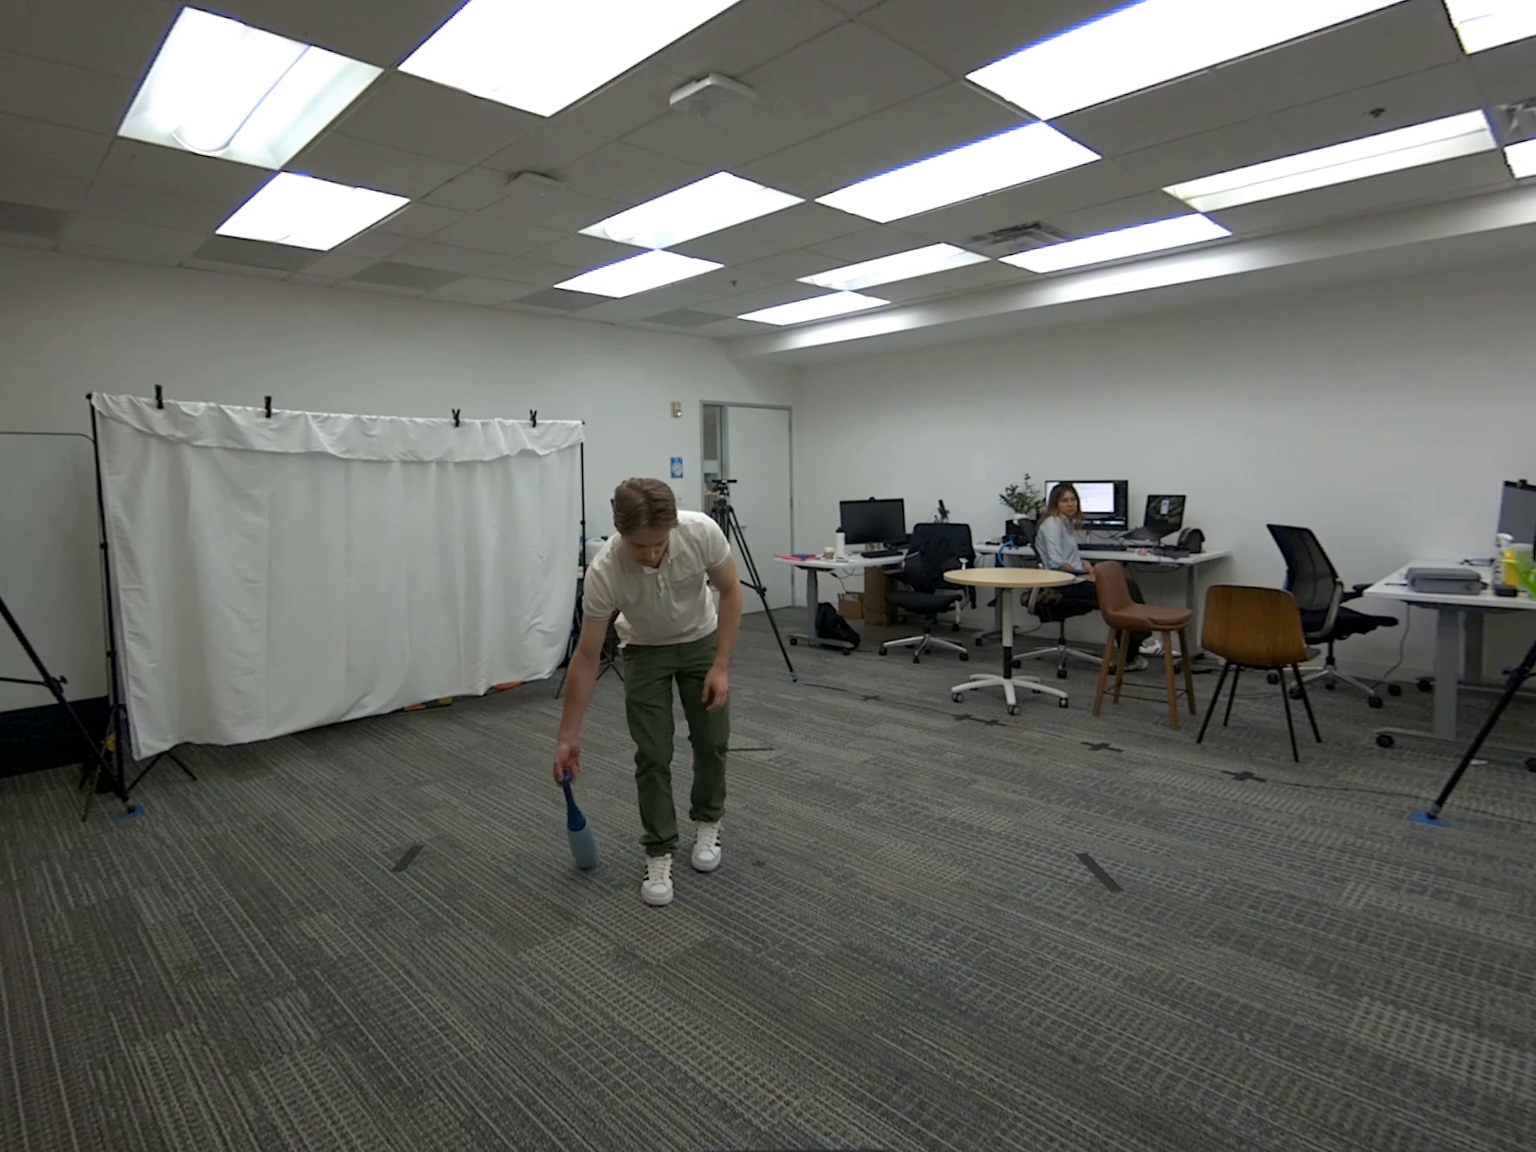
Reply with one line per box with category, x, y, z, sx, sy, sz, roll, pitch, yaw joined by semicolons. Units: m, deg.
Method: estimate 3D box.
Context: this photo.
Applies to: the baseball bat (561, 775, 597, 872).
baseball bat;-0.653;0.847;2.950;0.089;0.528;0.091;0;42;-2
